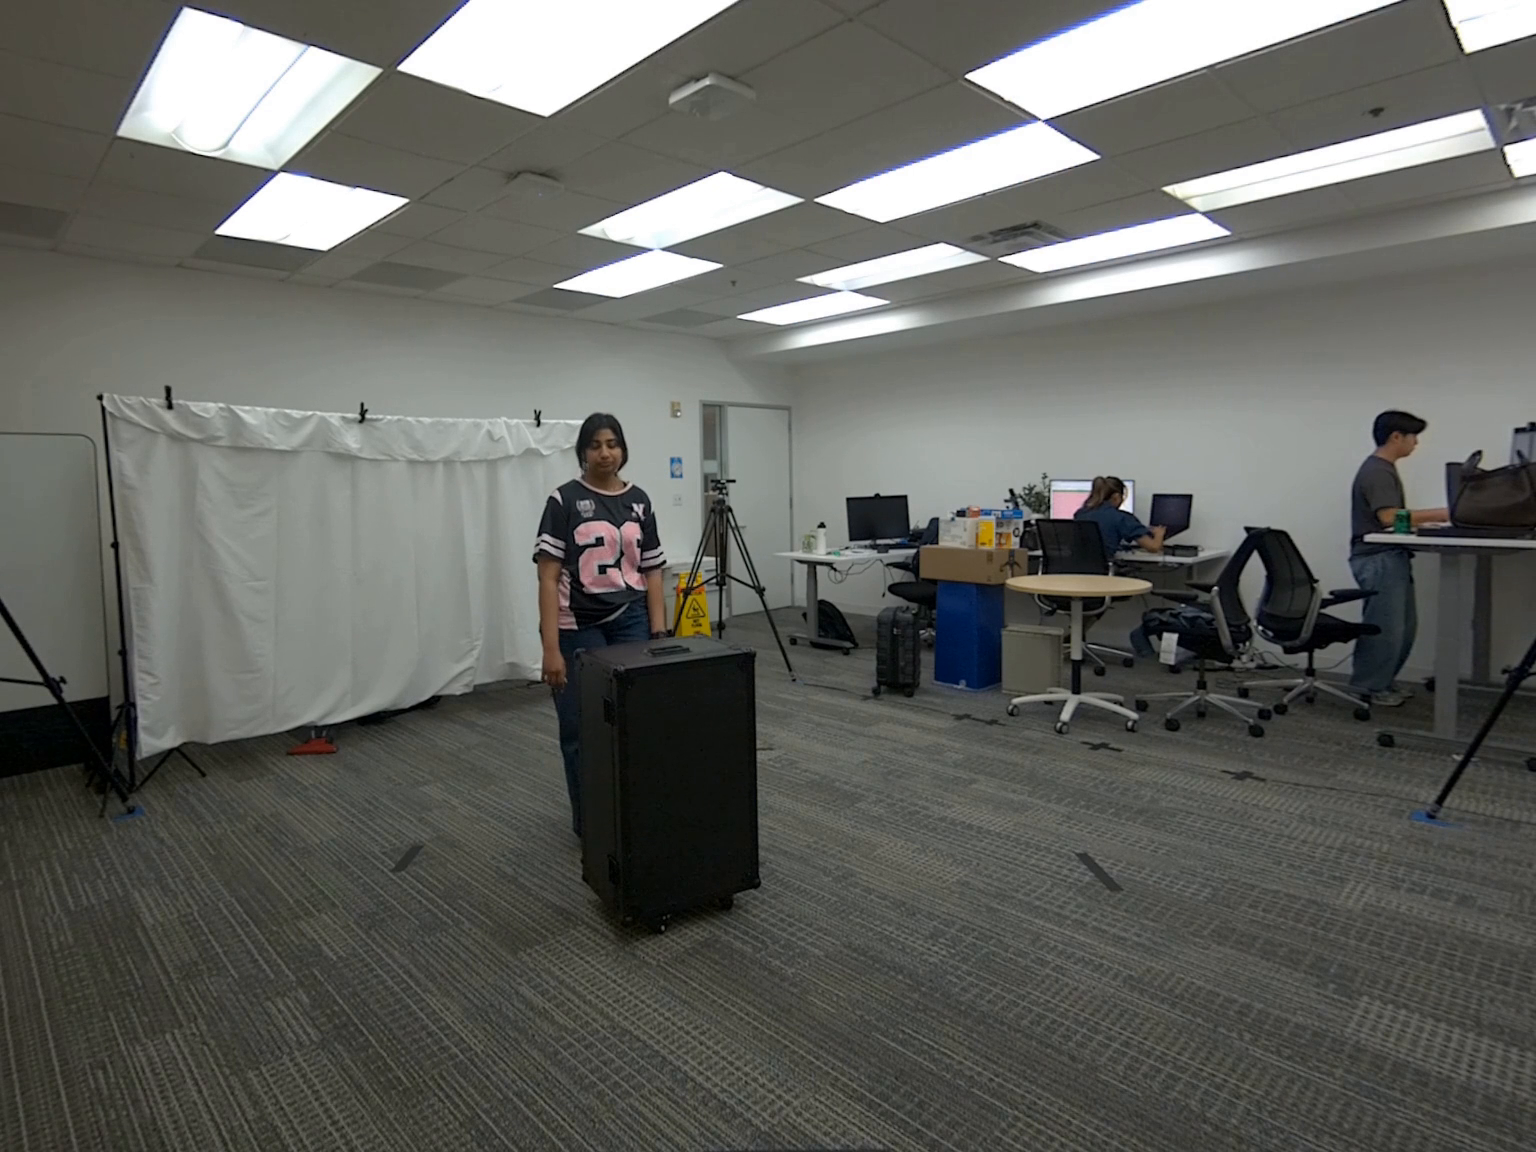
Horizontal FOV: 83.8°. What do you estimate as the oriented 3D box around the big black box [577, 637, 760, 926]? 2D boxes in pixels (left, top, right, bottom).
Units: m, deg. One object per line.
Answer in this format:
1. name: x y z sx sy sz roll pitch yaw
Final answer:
1. big black box: -0.336 0.667 2.796 0.511 0.865 0.396 -4 5 -31
